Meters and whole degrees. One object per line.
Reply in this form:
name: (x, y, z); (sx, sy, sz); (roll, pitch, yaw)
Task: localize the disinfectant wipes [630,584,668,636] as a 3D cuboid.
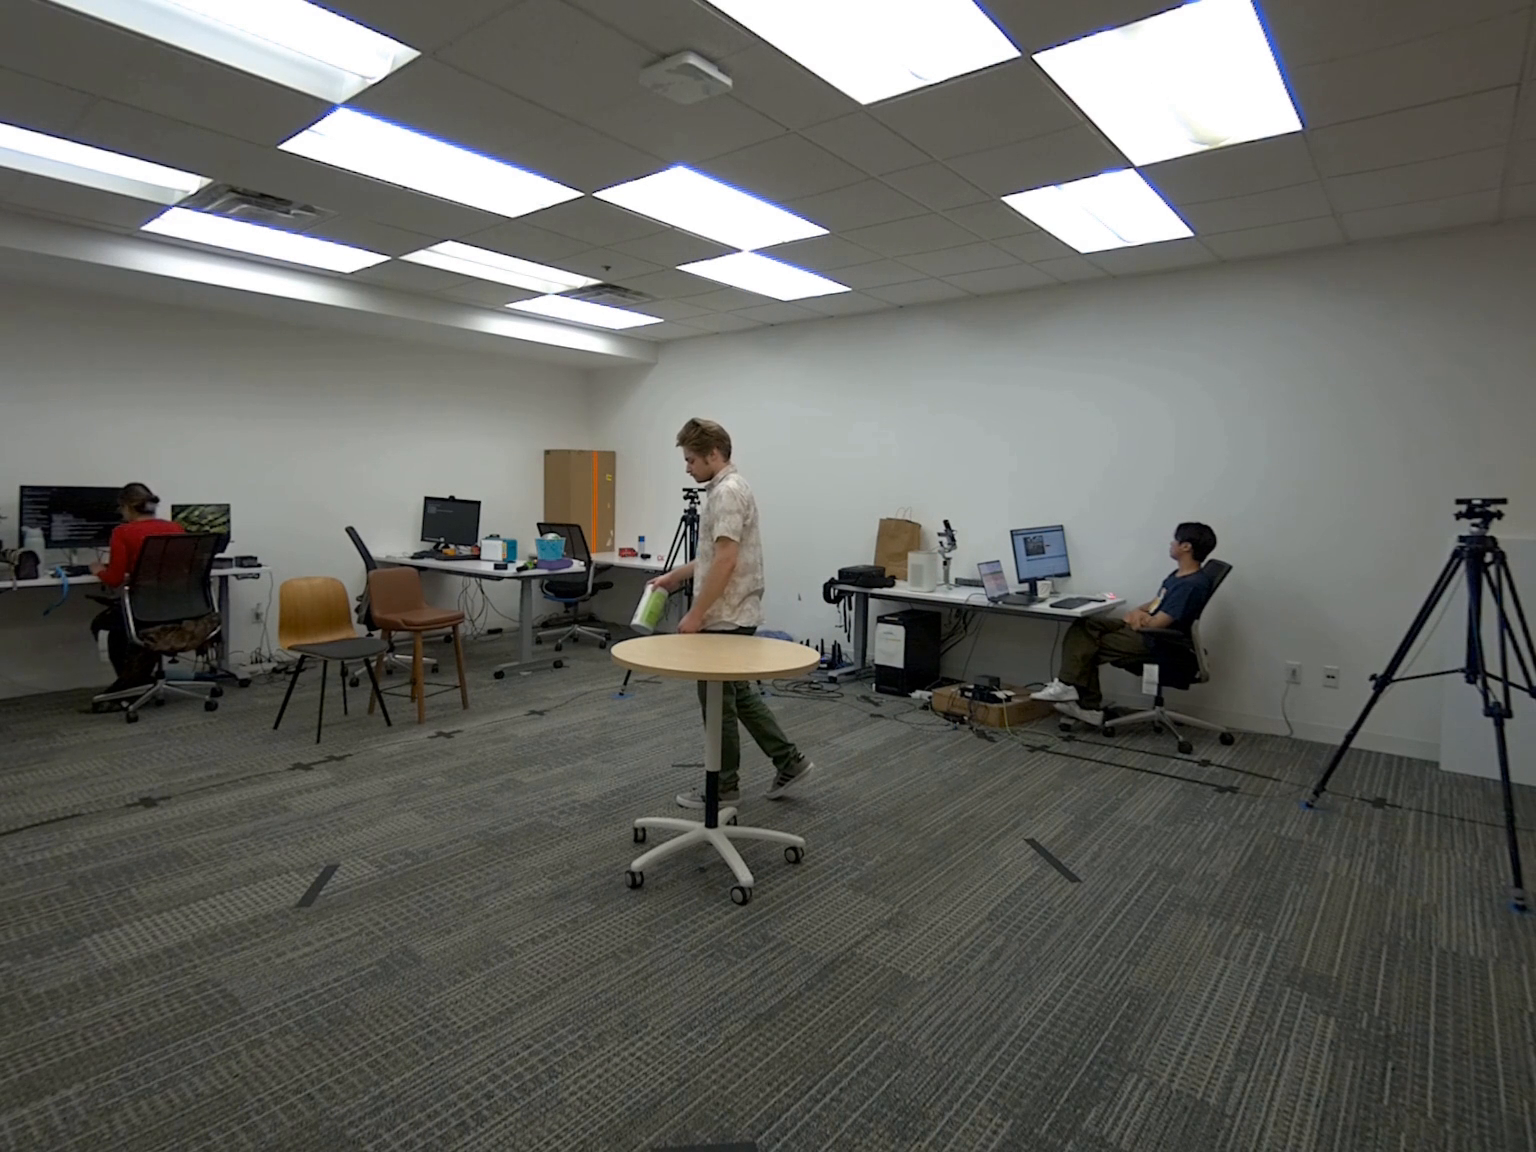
disinfectant wipes: (-0.564, 0.153, 3.953); (0.119, 0.220, 0.115); (17, -23, 5)
